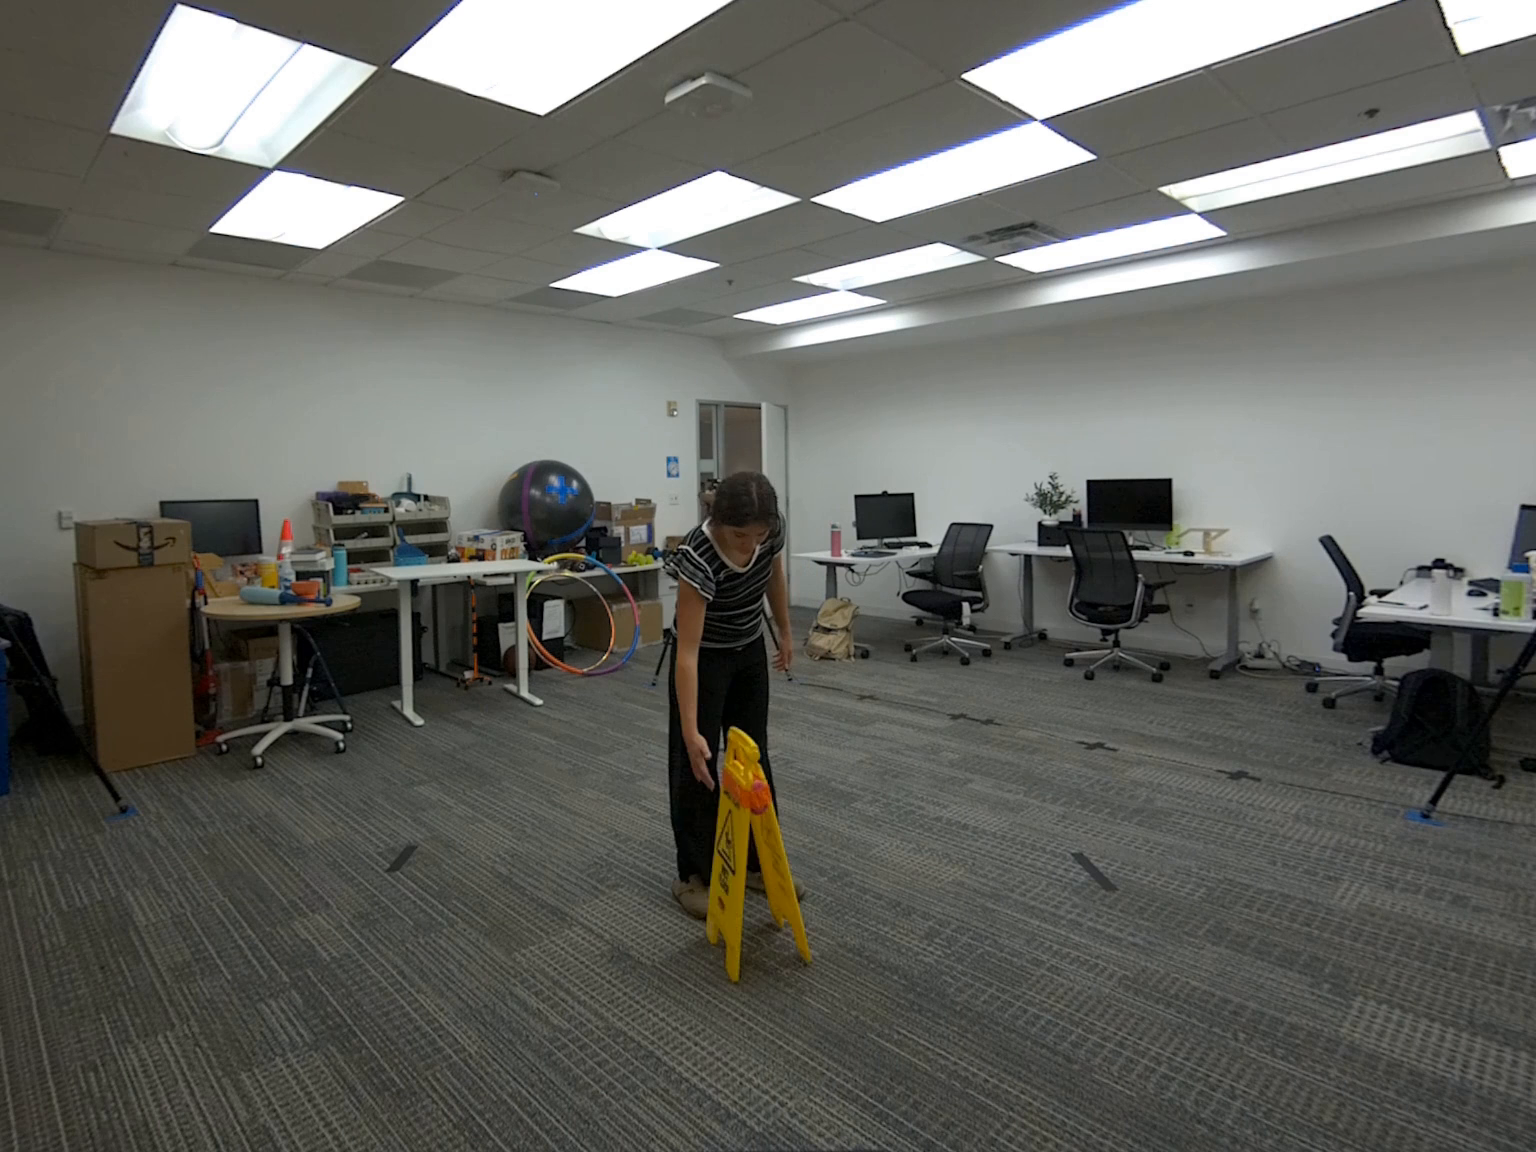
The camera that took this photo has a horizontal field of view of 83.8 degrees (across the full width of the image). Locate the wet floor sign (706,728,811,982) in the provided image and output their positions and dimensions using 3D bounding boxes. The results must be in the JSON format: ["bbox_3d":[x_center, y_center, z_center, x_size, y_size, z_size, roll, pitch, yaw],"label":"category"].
[{"bbox_3d":[-0.052,0.786,2.504,0.285,0.642,0.288,-6,6,-18],"label":"wet floor sign"}]
